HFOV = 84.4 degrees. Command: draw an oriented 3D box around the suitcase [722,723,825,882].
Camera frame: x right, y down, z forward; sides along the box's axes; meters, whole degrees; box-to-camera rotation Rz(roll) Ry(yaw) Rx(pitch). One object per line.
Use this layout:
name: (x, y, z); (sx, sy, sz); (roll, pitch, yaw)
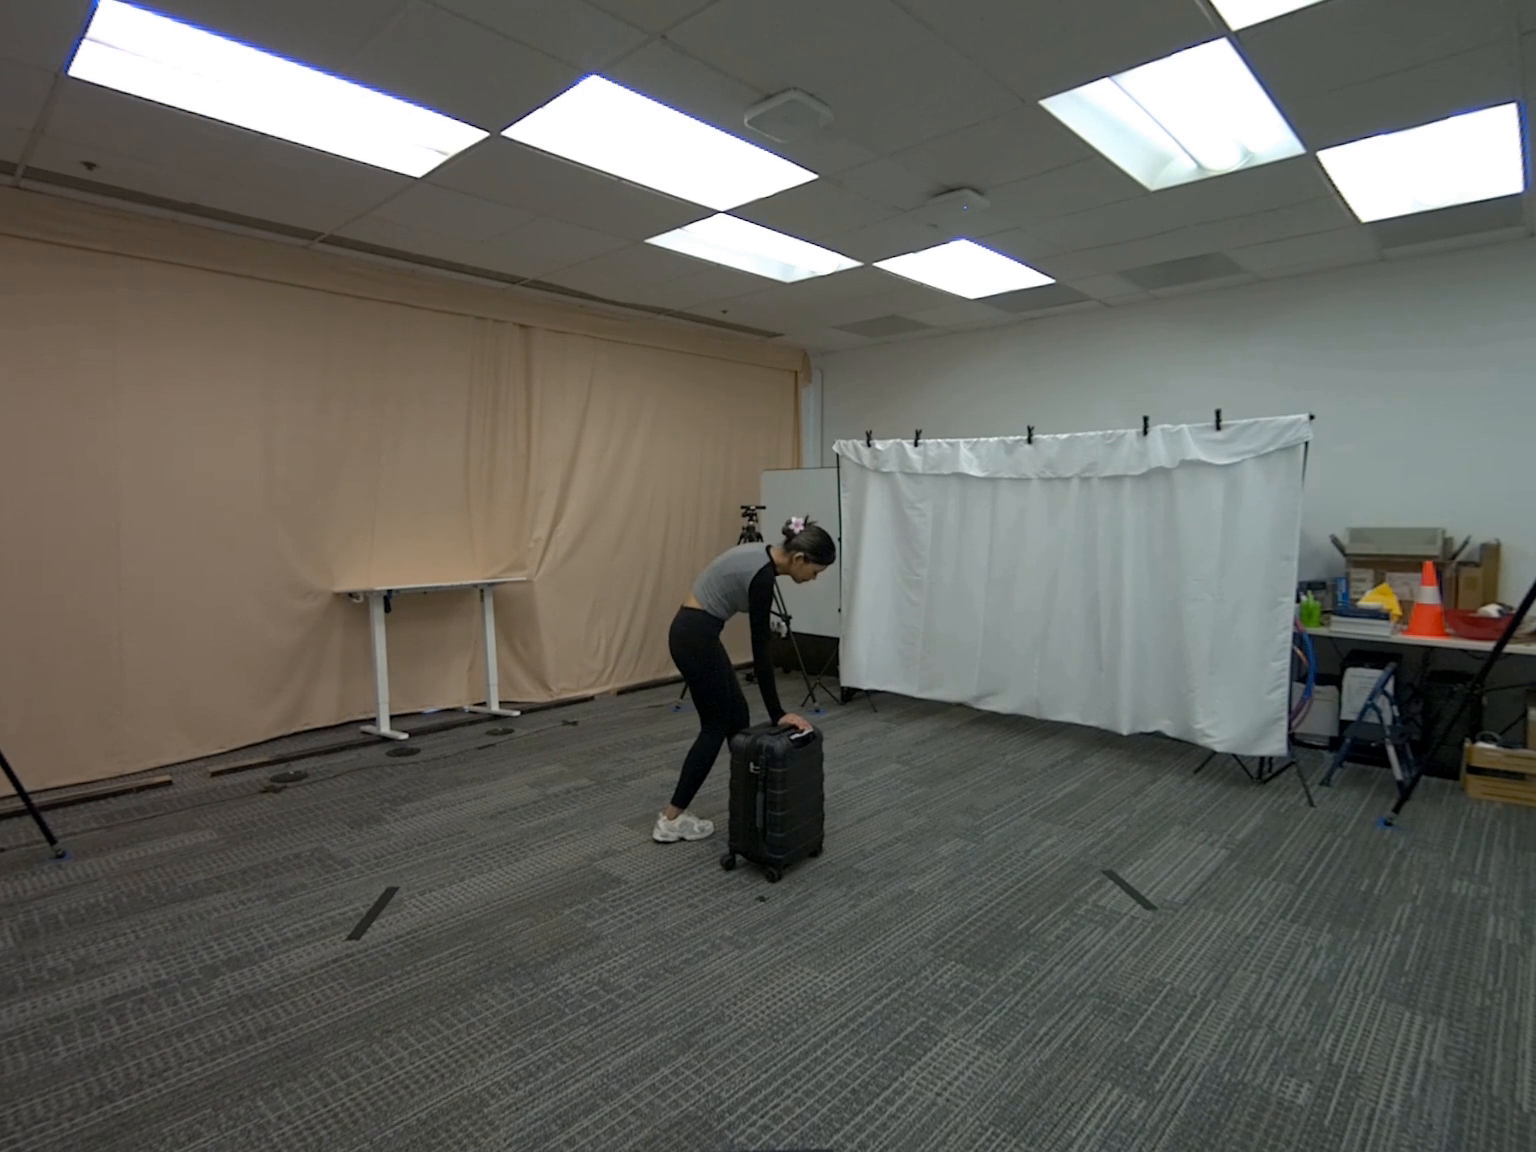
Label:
suitcase: (0.035, 0.844, 3.269); (0.256, 0.548, 0.364); (4, 5, 36)
